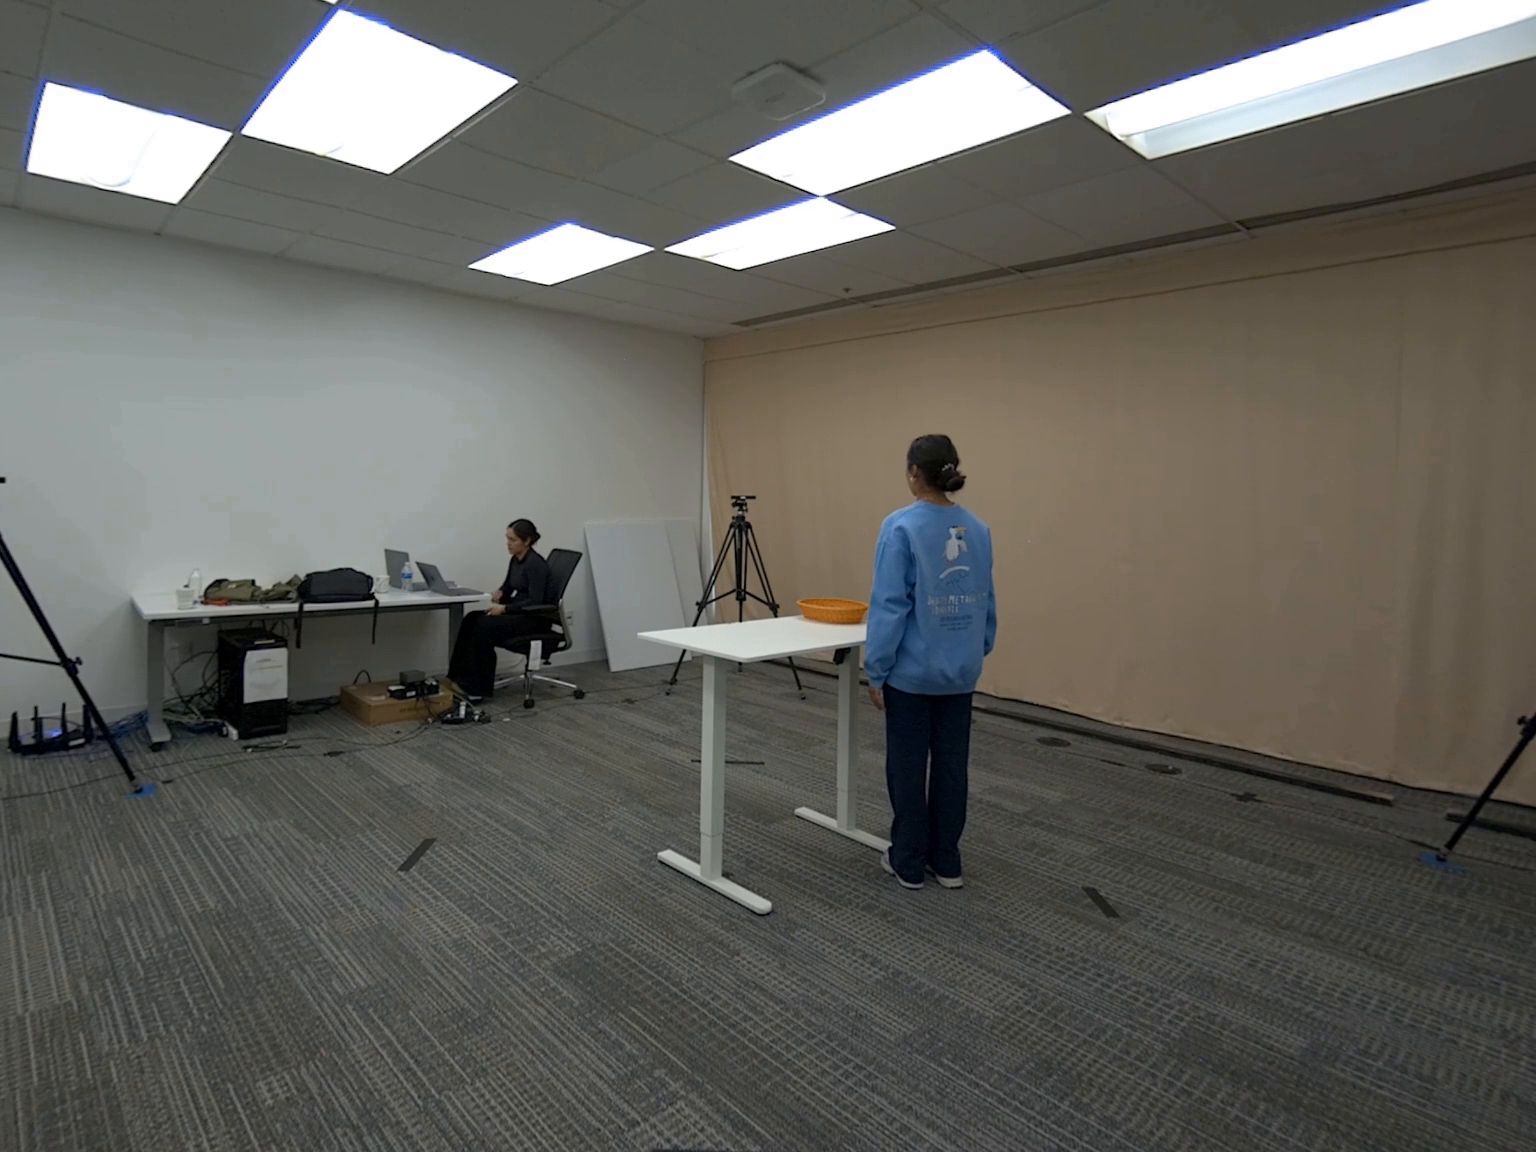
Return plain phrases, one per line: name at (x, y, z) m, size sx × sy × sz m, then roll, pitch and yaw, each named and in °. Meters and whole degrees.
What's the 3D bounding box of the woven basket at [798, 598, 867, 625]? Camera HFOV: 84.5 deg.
woven basket at (0.266, 0.158, 3.582) m, size 0.247 × 0.073 × 0.358 m, roll -2°, pitch 6°, yaw -28°
